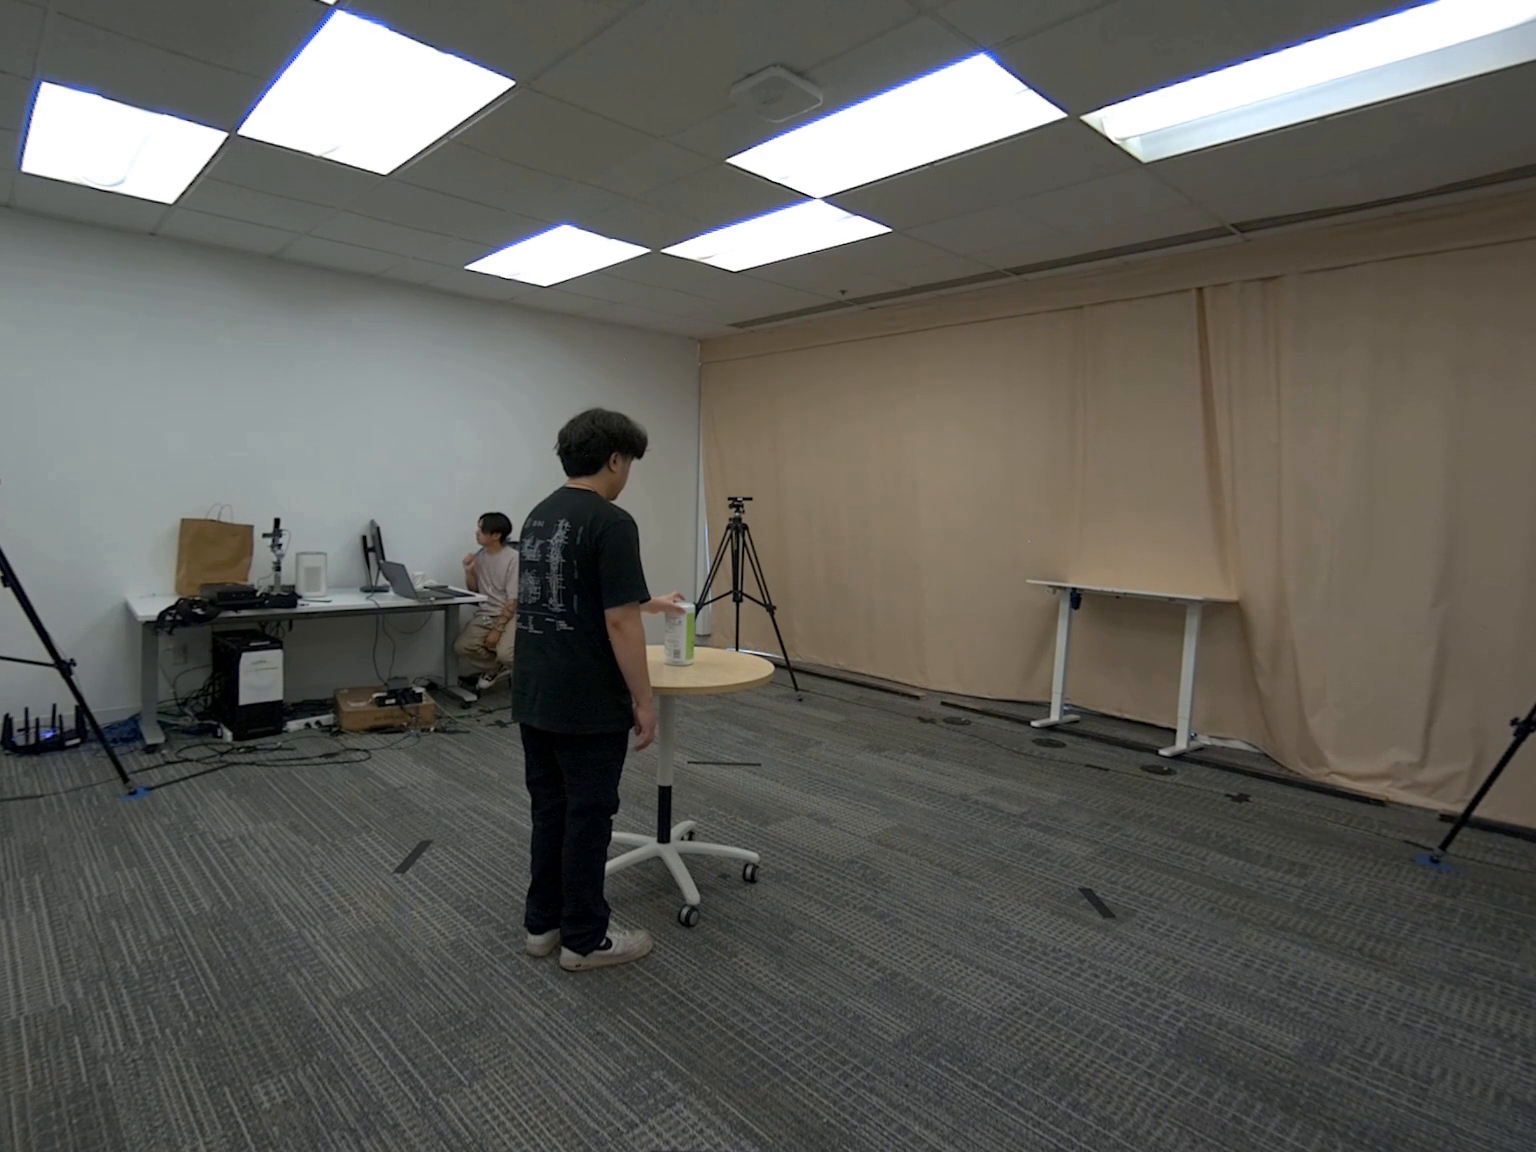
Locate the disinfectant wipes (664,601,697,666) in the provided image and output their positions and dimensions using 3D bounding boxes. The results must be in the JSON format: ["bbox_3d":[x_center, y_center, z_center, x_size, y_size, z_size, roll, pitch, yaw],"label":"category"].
[{"bbox_3d":[-0.329,0.218,3.030,0.117,0.216,0.118,3,8,-2],"label":"disinfectant wipes"}]
